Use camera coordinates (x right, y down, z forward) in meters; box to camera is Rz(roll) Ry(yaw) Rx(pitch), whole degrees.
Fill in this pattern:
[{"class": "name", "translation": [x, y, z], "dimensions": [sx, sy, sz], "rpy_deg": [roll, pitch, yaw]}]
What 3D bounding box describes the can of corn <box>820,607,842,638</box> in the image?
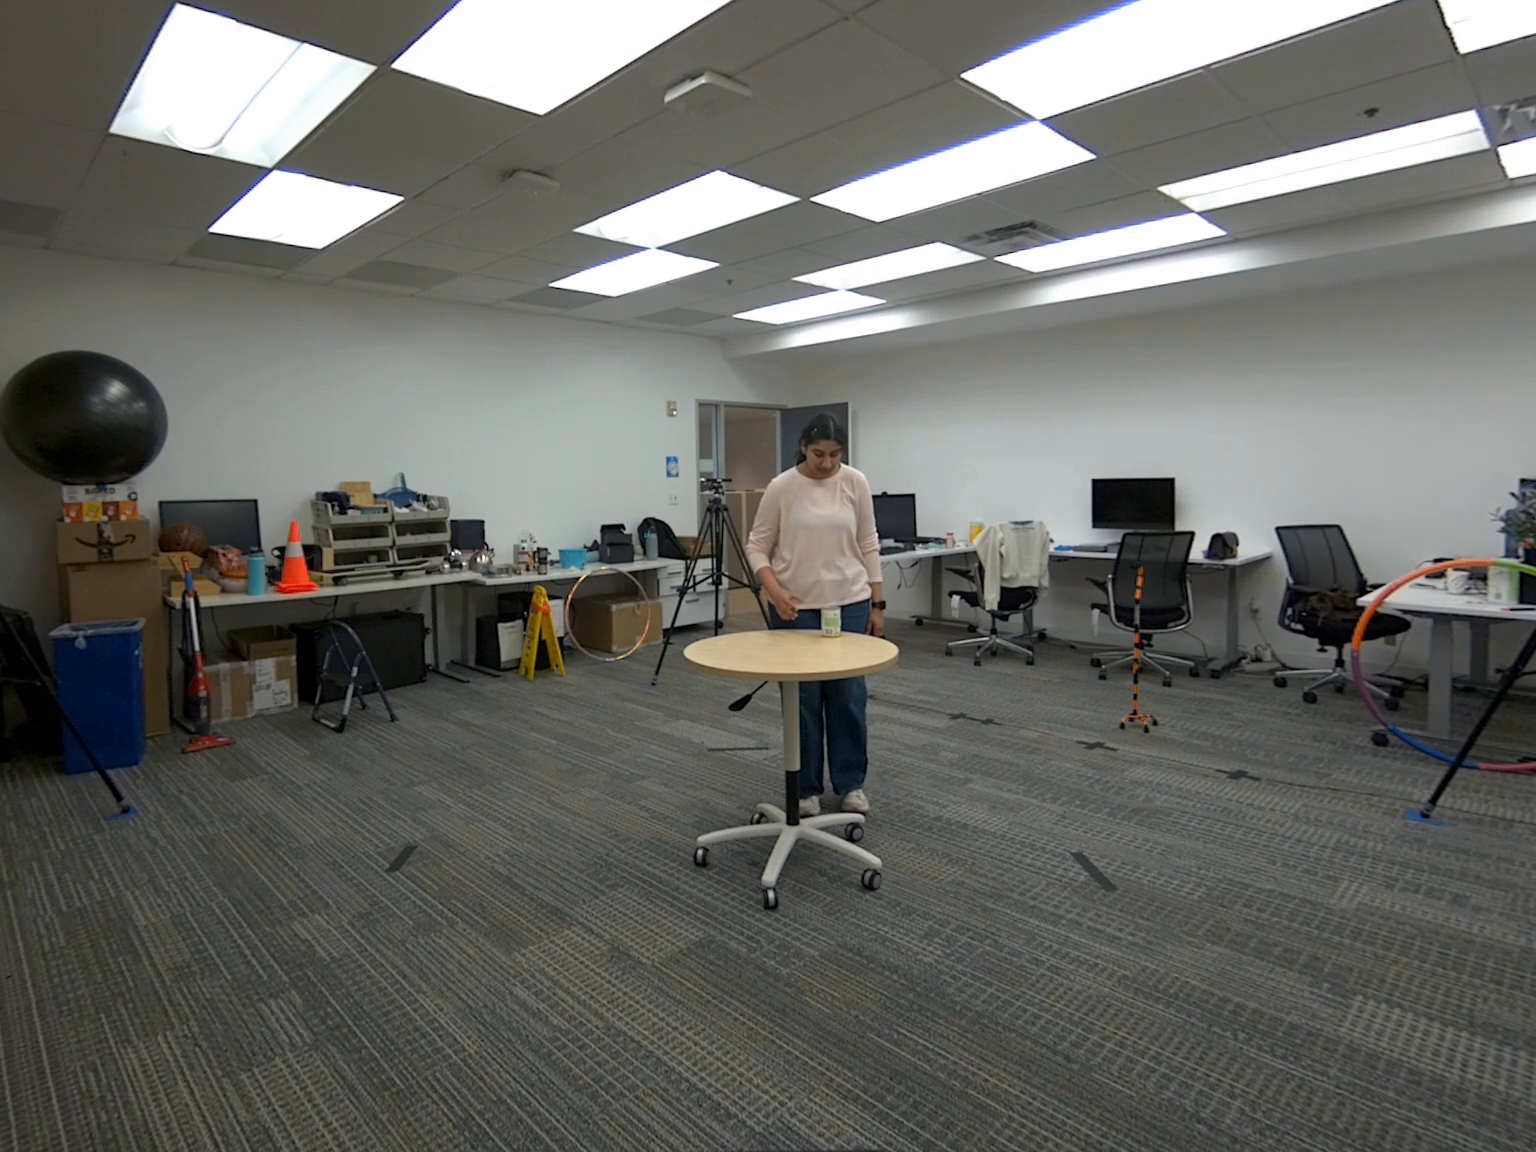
[{"class": "can of corn", "translation": [0.238, 0.178, 3.285], "dimensions": [0.074, 0.111, 0.074], "rpy_deg": [-3, 3, -1]}]
